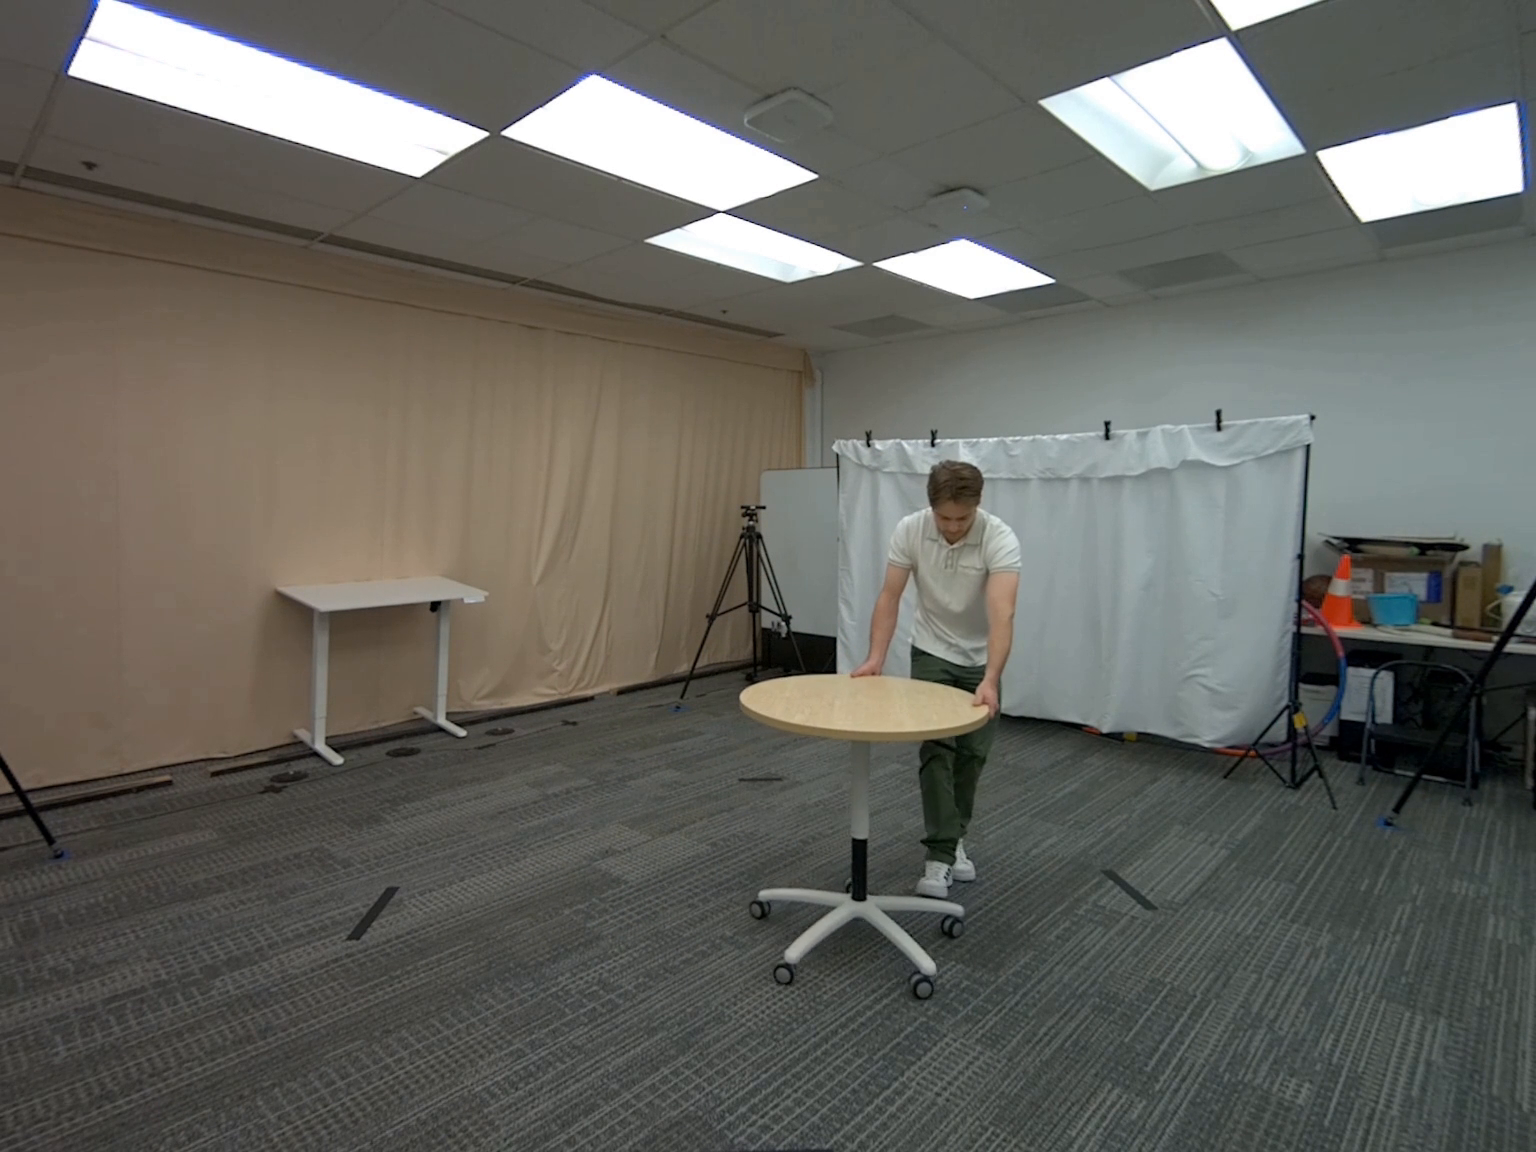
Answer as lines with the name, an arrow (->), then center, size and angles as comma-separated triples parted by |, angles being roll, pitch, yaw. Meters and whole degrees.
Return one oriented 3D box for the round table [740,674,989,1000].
round table -> 0.294, 0.774, 2.680 | 0.784, 0.784, 0.788 | 0, 4, -2
